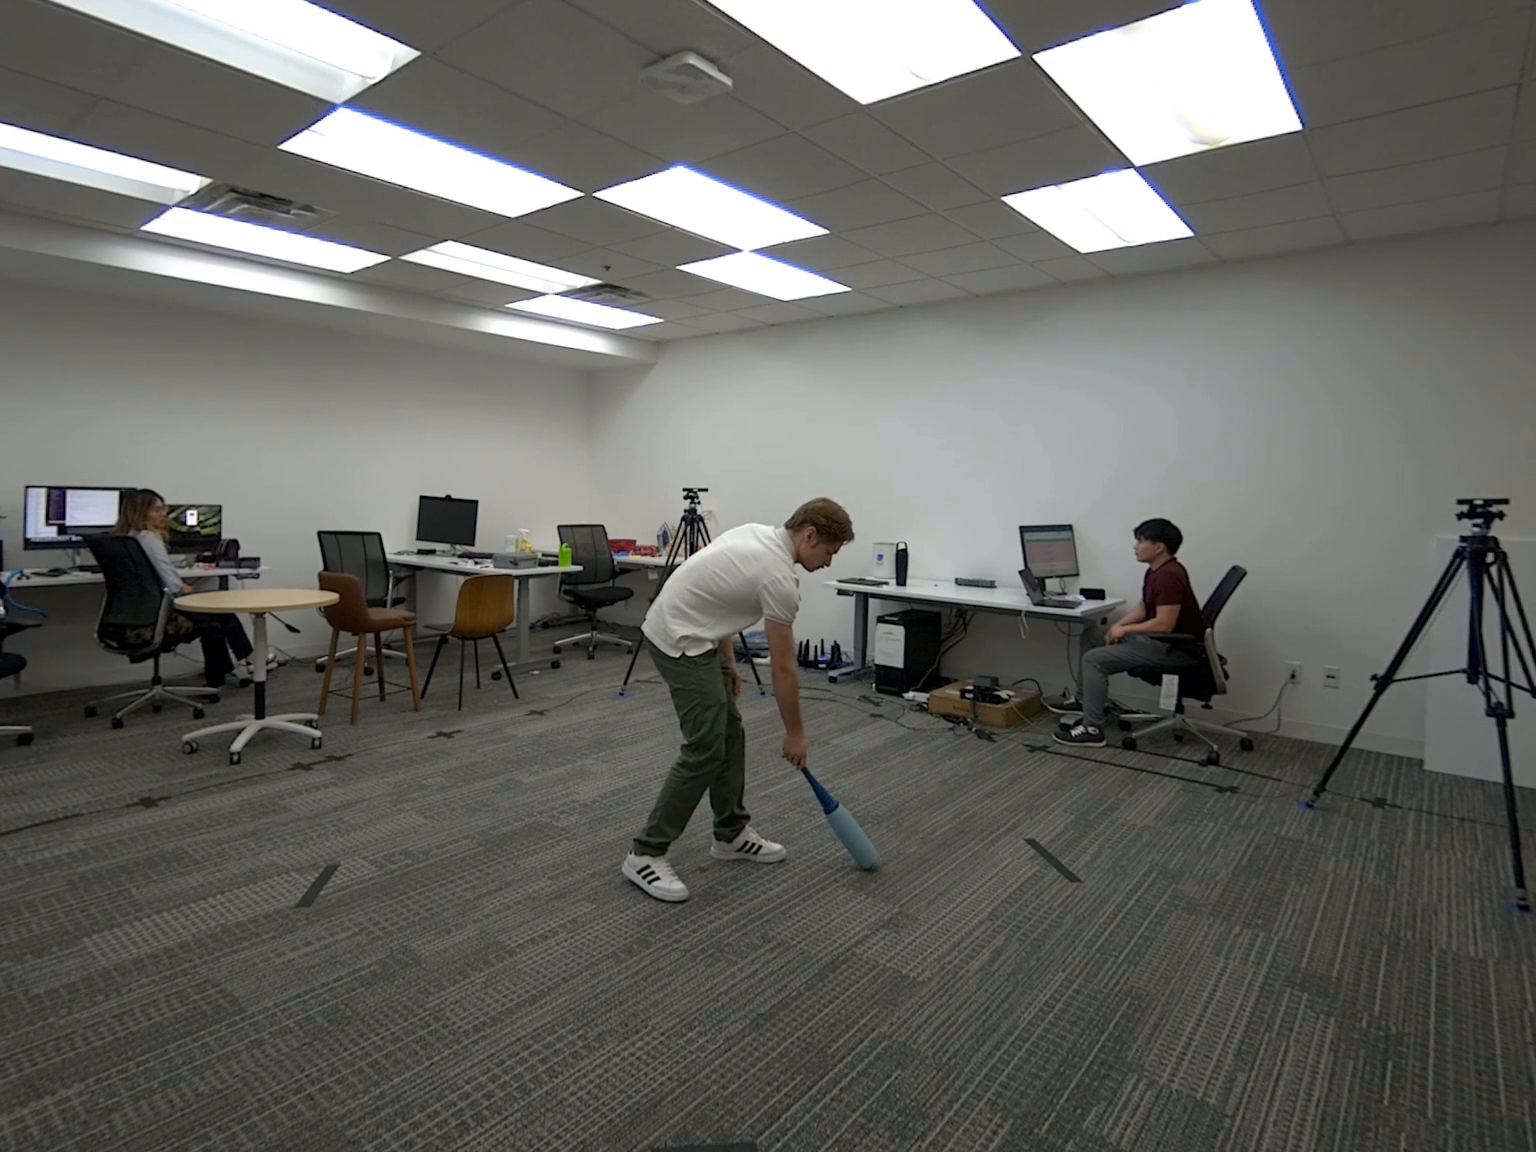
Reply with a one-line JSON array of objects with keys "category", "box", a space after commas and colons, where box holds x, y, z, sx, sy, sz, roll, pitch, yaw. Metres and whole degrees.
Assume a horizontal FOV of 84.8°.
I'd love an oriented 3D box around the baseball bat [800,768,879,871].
[{"category": "baseball bat", "box": [0.211, 0.846, 3.138, 0.089, 0.542, 0.089, -36, 2, 1]}]
